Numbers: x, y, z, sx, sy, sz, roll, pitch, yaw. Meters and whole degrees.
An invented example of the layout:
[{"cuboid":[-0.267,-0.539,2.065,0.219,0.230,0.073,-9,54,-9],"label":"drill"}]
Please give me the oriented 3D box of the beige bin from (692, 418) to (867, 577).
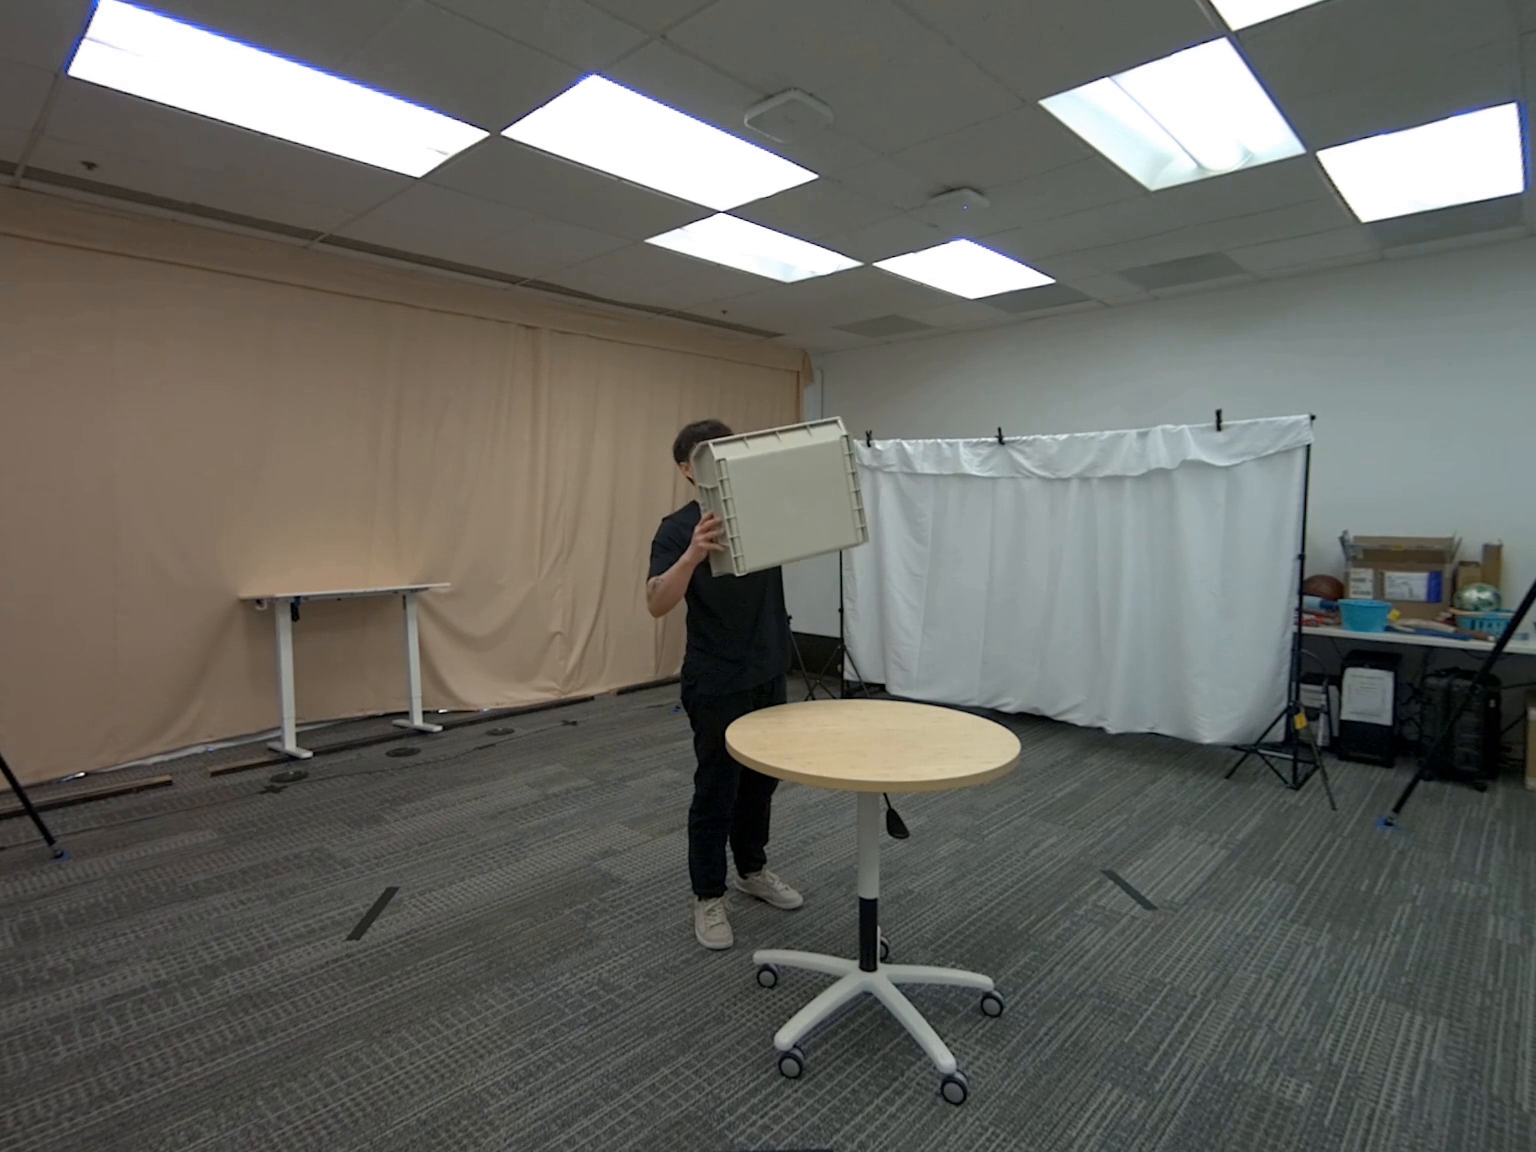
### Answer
[{"cuboid":[0.035,-0.220,2.369,0.415,0.375,0.193,-14,7,-20],"label":"beige bin"}]
